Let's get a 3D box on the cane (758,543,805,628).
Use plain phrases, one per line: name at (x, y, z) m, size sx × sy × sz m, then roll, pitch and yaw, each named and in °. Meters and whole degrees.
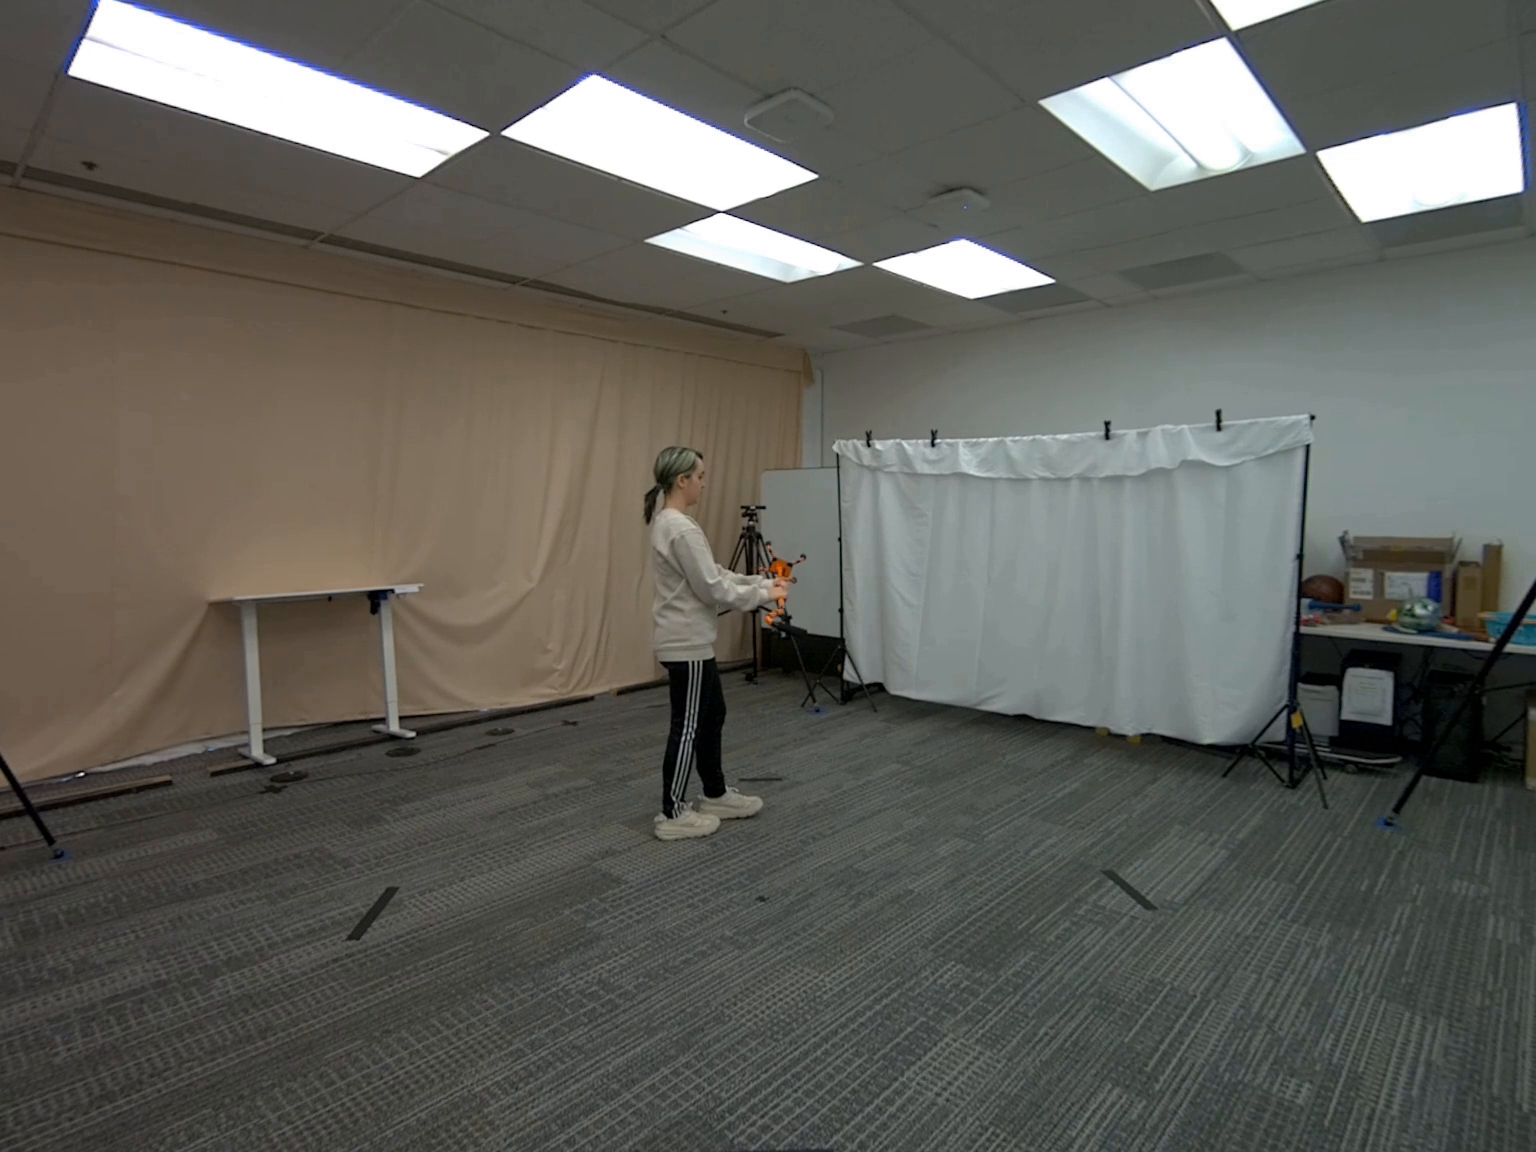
cane at (0.072, 0.058, 3.541) m, size 0.205 × 0.151 × 0.915 m, roll 21°, pitch 14°, yaw -6°
